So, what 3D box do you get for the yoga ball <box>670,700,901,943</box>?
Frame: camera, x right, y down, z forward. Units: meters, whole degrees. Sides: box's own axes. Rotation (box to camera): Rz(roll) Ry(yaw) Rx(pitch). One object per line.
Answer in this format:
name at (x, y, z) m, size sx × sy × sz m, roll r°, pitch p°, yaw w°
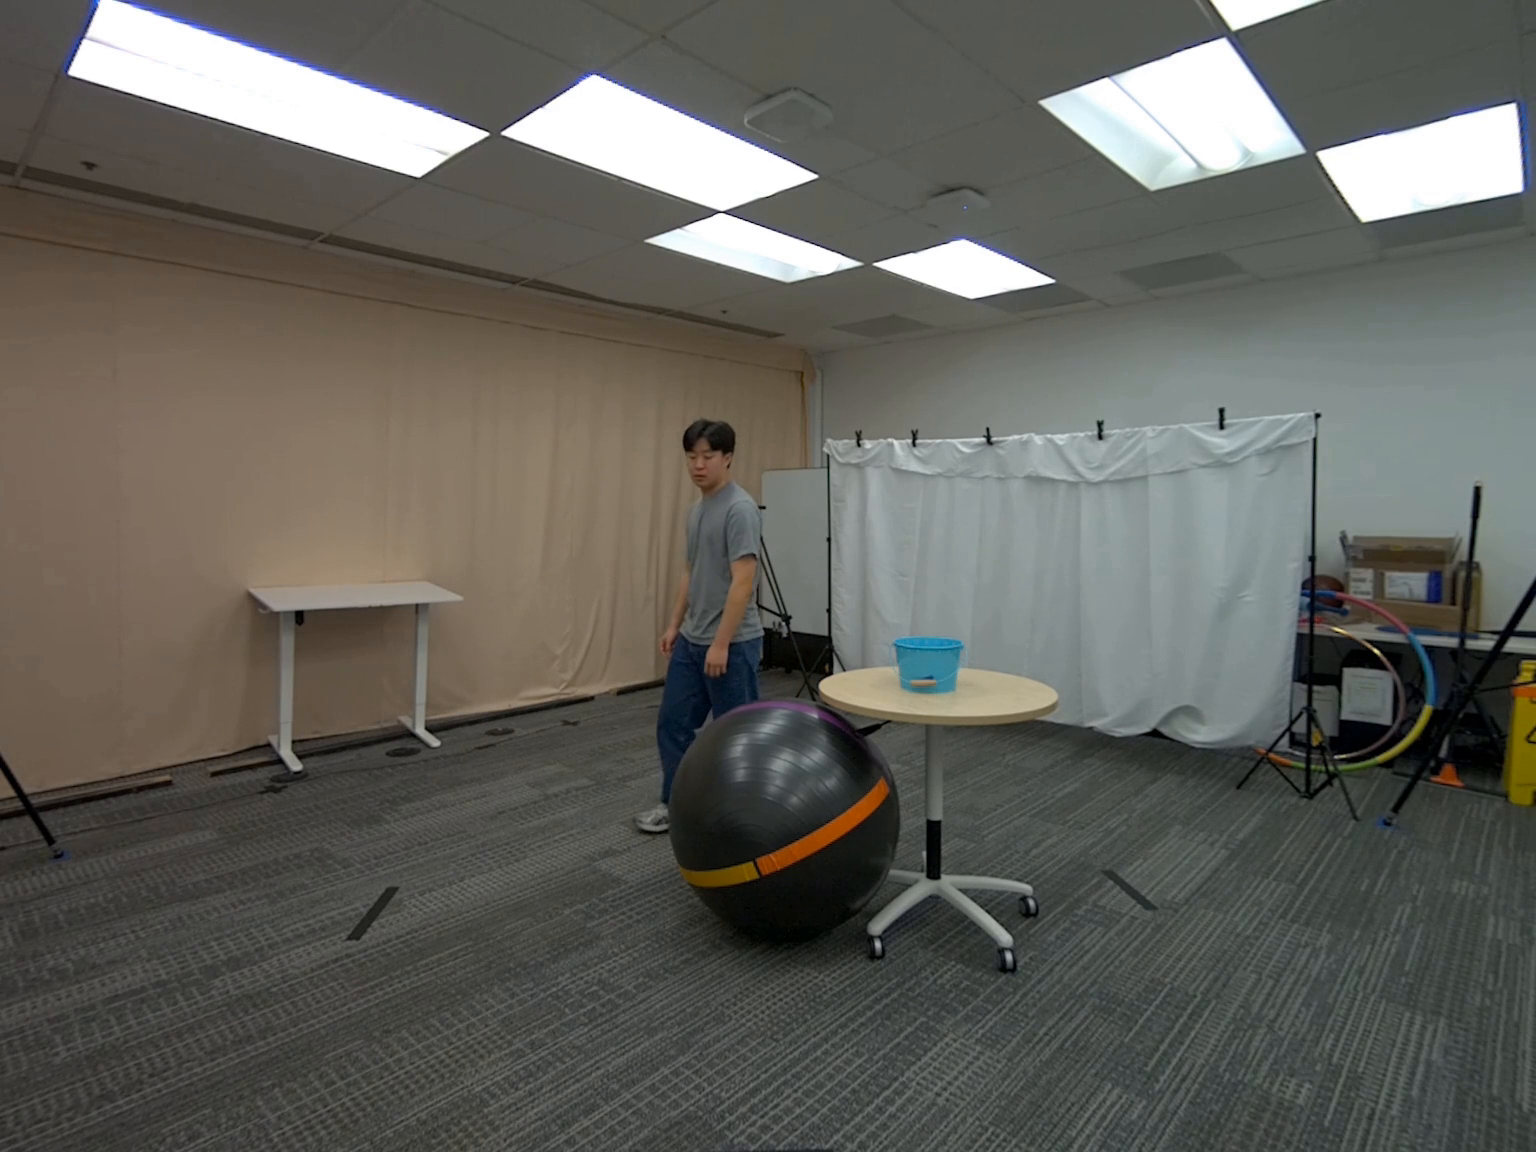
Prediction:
yoga ball at (0.050, 0.790, 2.778) m, size 0.757 × 0.756 × 0.760 m, roll 0°, pitch 4°, yaw -2°
